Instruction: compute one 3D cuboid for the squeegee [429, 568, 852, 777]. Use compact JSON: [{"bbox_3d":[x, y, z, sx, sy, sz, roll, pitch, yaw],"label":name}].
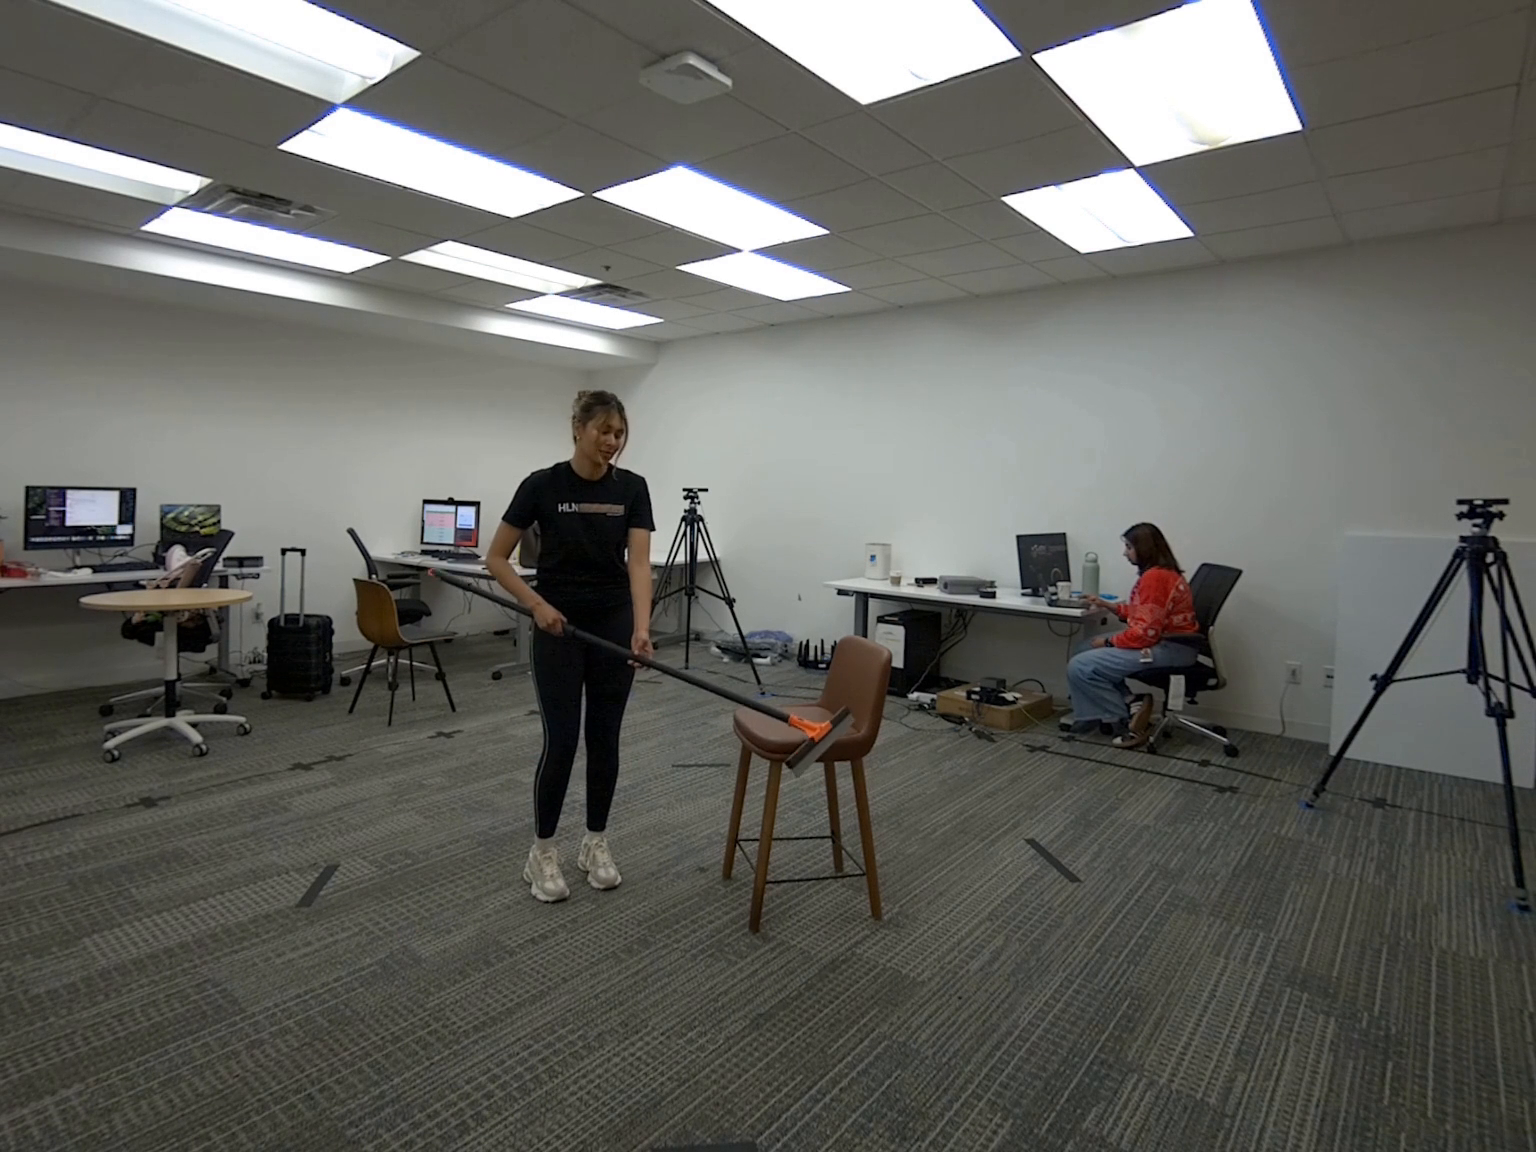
[{"bbox_3d":[-0.510,0.222,2.657,1.581,0.052,0.430,18,17,23],"label":"squeegee"}]
